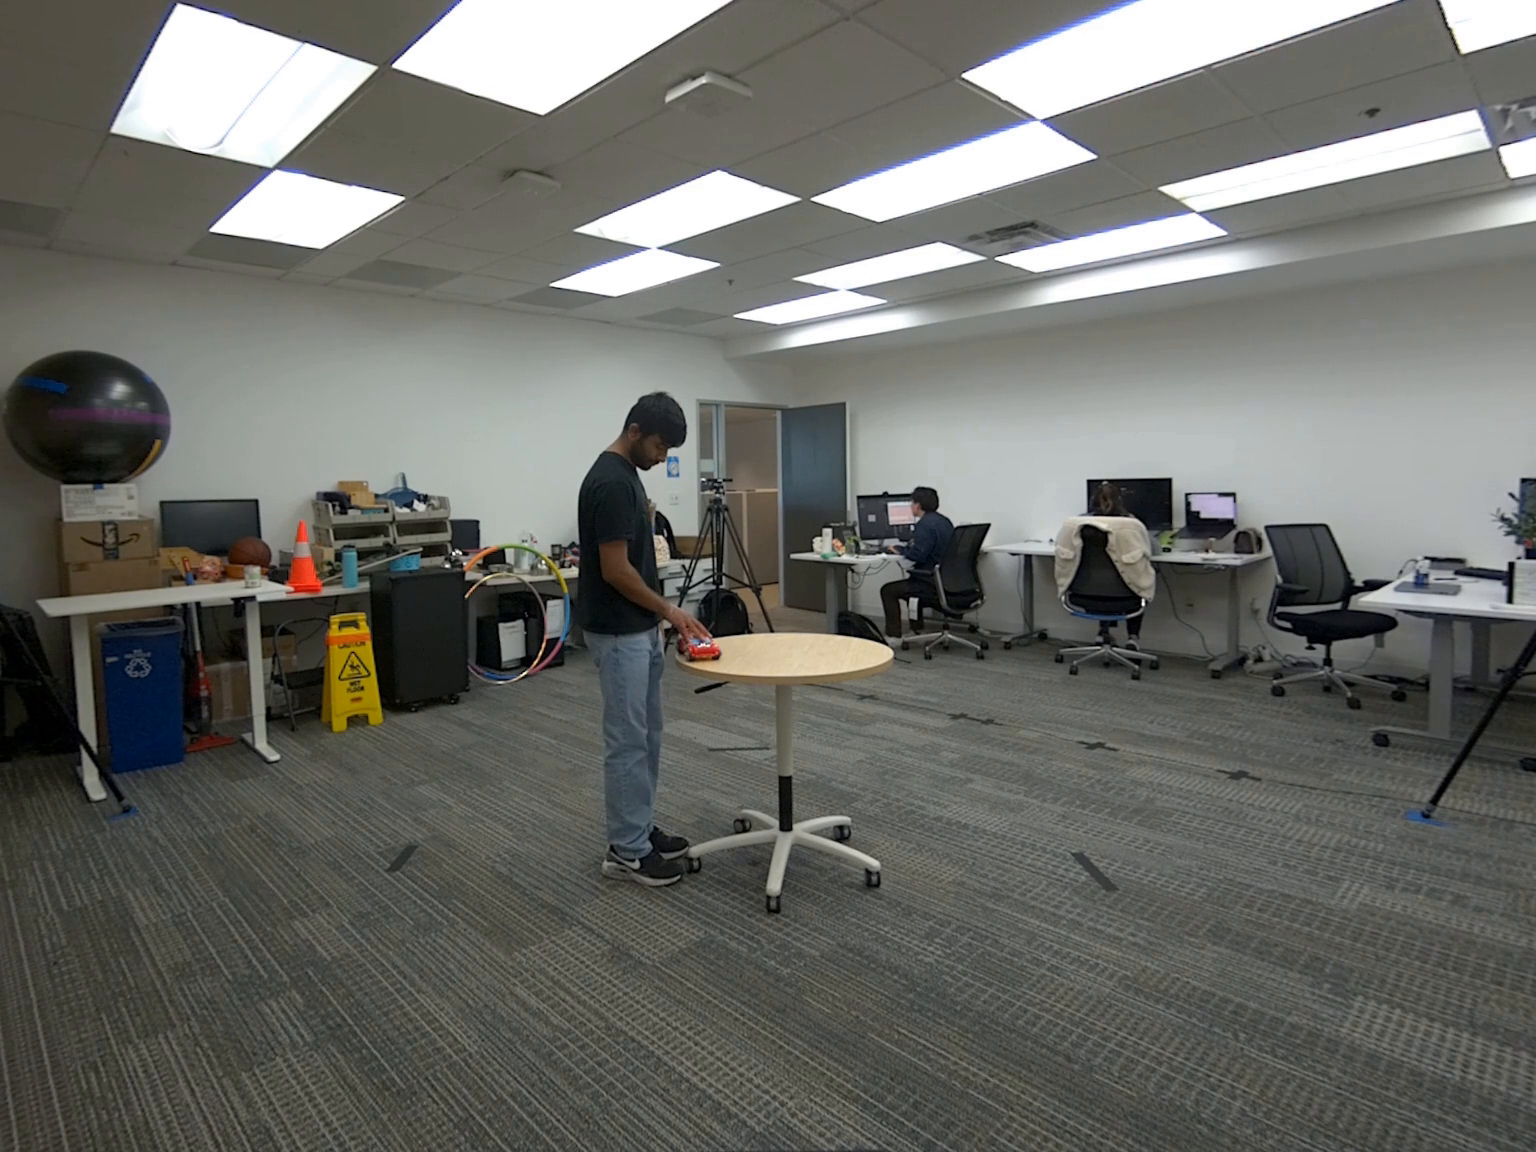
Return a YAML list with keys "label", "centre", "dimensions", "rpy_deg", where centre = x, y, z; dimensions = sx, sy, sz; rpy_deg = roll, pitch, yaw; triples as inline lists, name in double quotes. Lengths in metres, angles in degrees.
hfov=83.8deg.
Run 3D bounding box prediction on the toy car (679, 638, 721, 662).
- label: "toy car"
  centre: [-0.249, 0.246, 2.998]
  dimensions: [0.128, 0.082, 0.261]
  rpy_deg: [-3, 17, -16]
